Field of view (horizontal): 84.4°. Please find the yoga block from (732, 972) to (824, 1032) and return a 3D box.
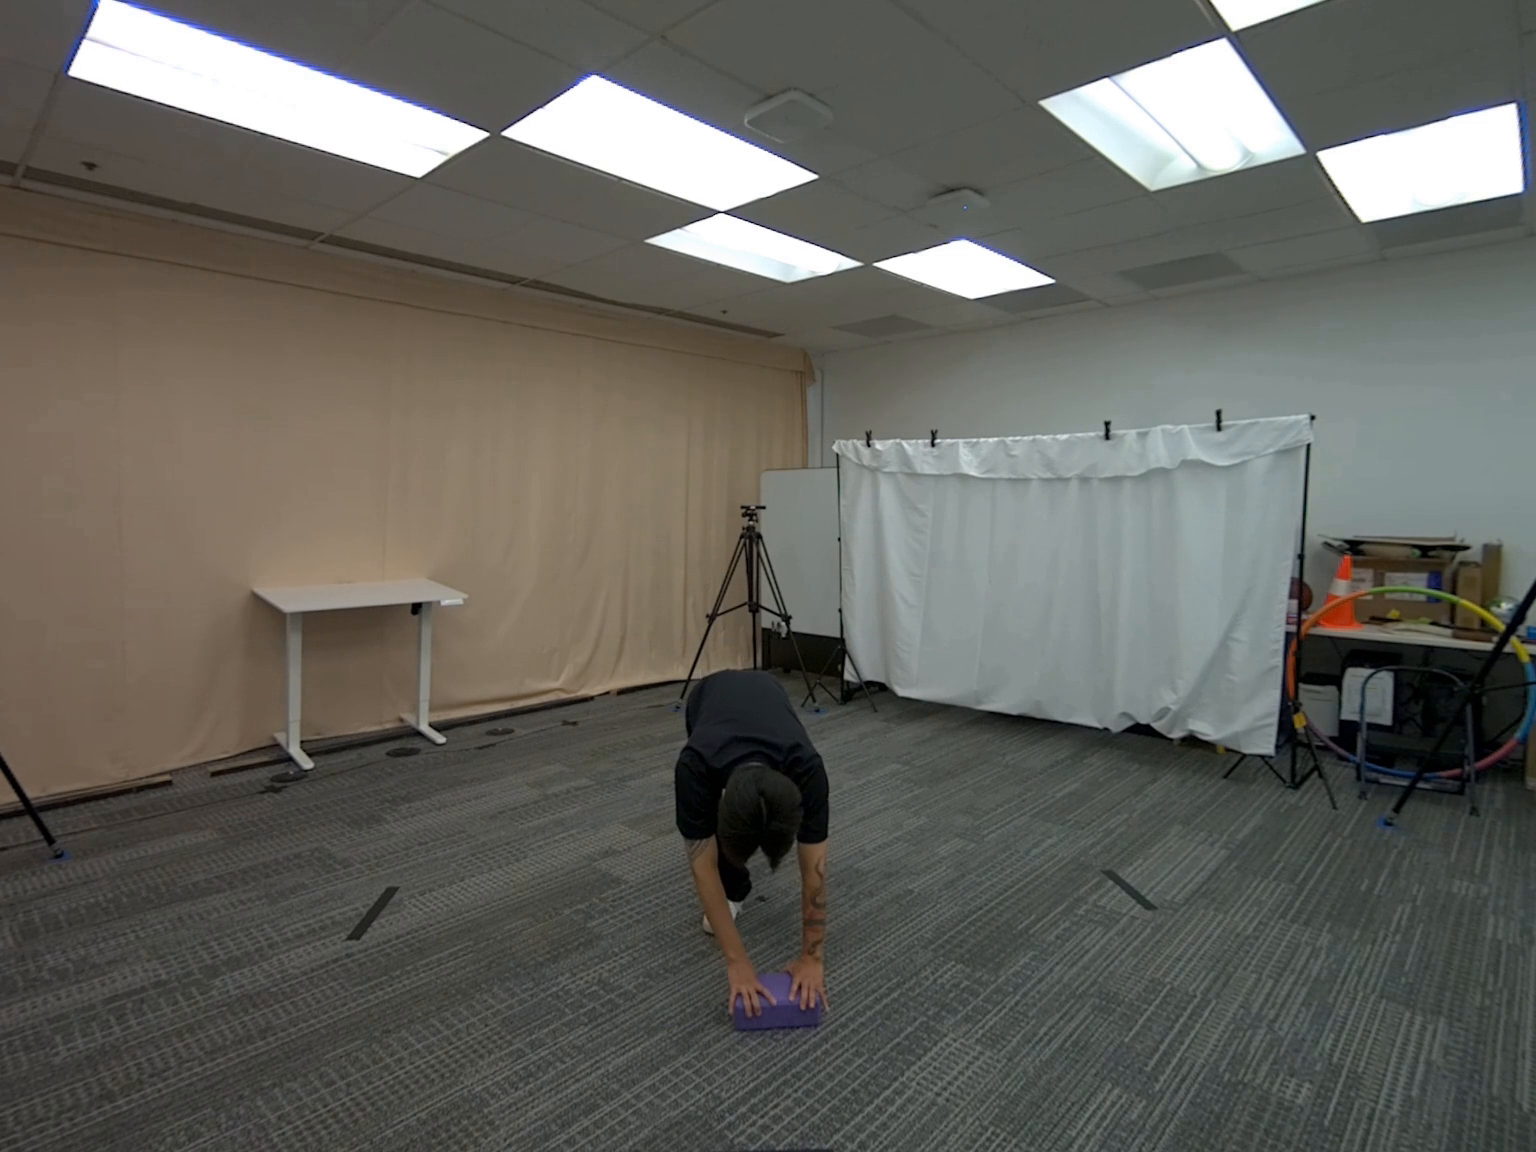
[{"bbox_3d":[0.020,1.168,2.306,0.228,0.076,0.150,1,8,-6],"label":"yoga block"}]
